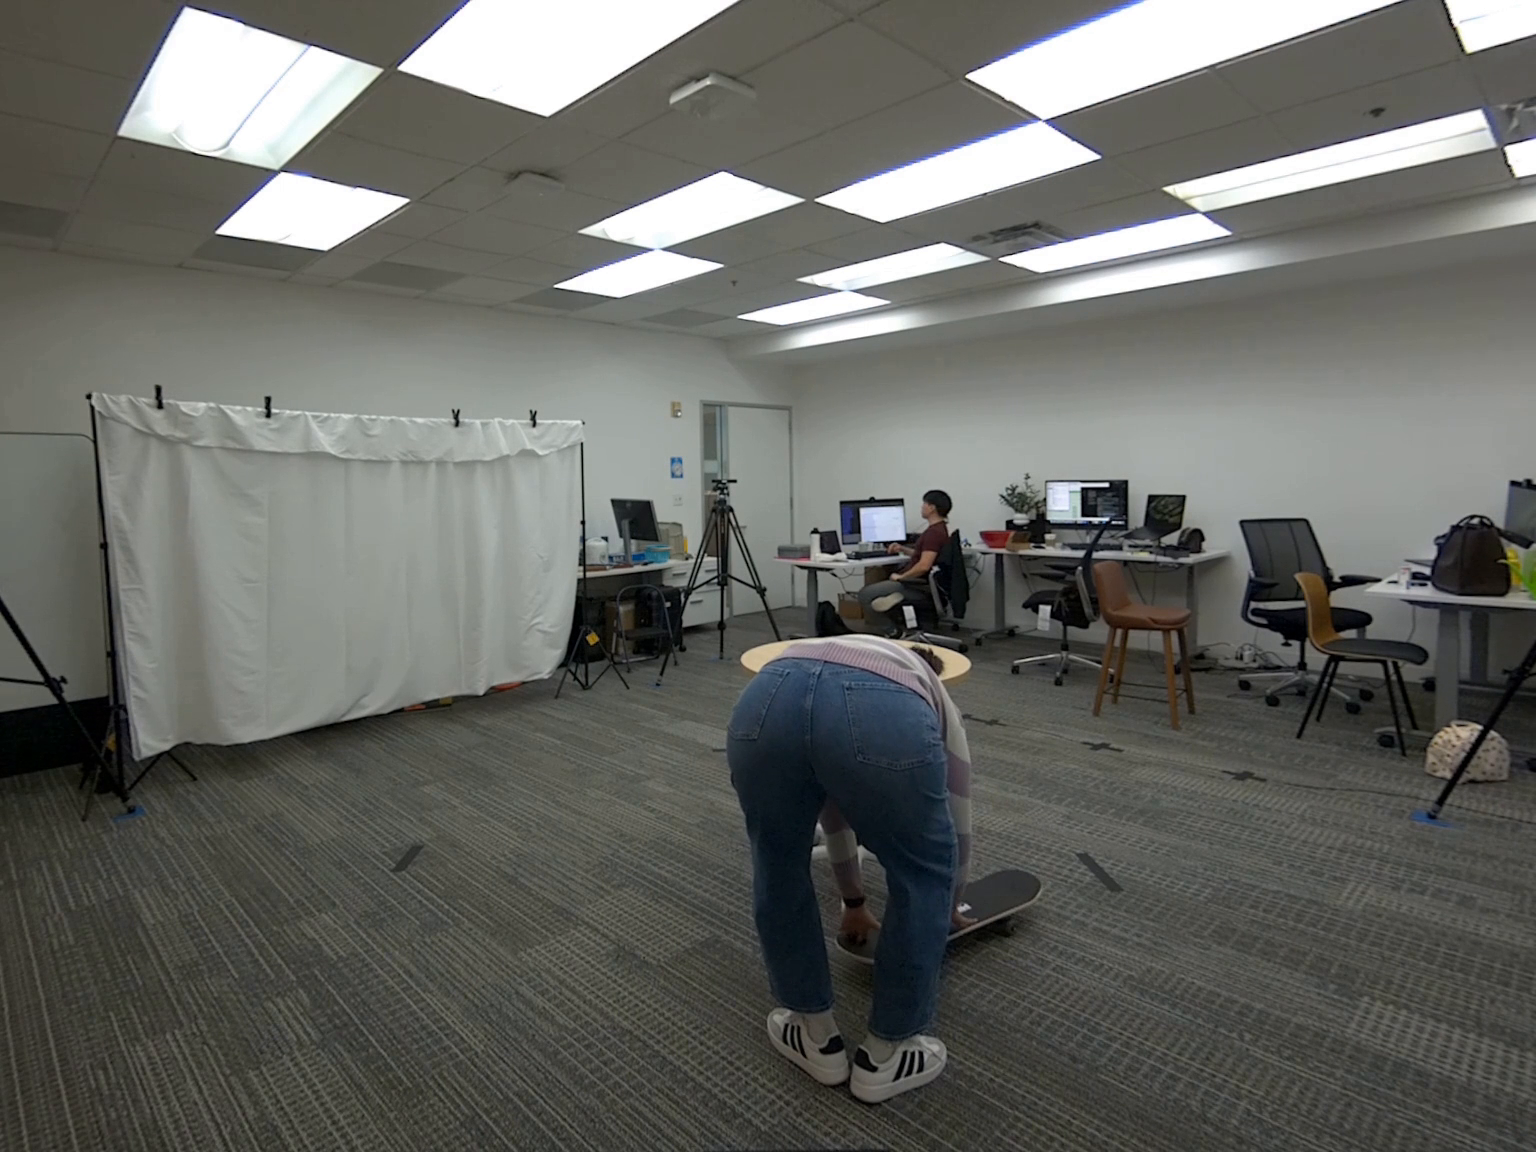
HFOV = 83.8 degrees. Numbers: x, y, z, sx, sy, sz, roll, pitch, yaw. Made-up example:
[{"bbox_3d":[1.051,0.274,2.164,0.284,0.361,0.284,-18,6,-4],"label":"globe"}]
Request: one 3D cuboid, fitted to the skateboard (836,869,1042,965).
[{"bbox_3d":[0.530,1.036,2.563,0.766,0.110,0.199,-6,7,-34],"label":"skateboard"}]
